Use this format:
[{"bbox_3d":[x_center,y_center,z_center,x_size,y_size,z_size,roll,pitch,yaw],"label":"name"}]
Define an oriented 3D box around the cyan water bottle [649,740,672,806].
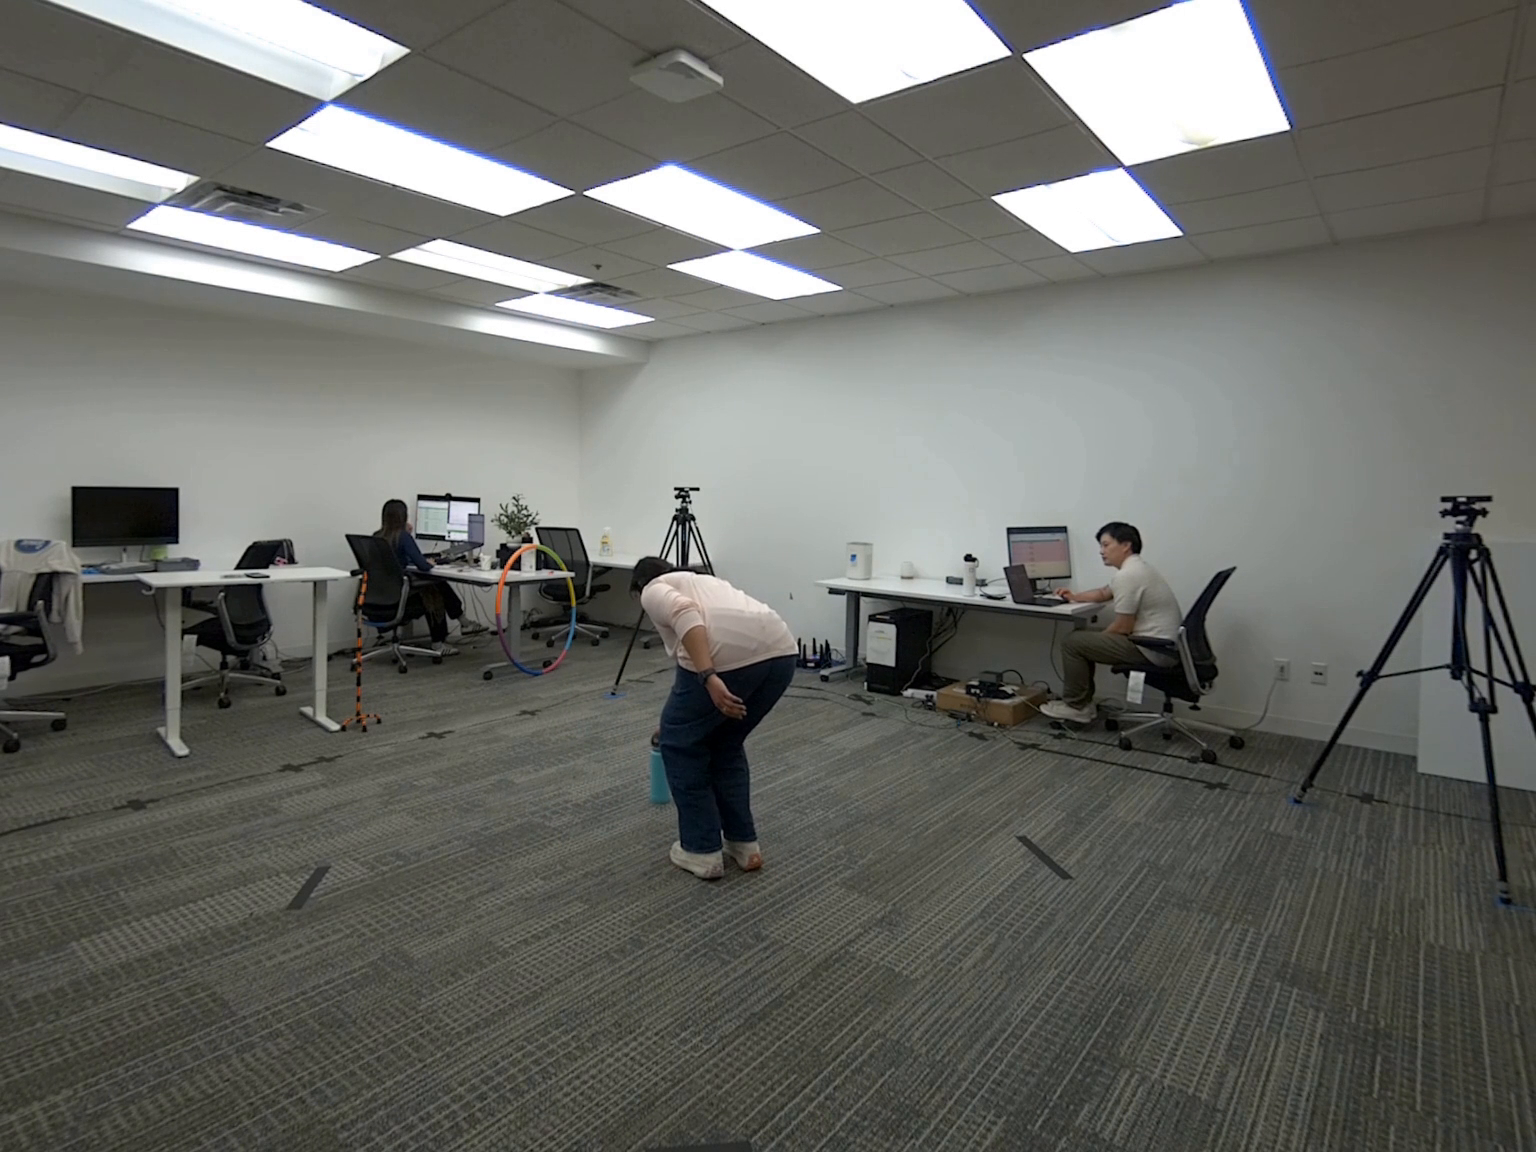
[{"bbox_3d":[-0.493,0.856,3.780,0.092,0.282,0.093,-1,3,-2],"label":"cyan water bottle"}]
